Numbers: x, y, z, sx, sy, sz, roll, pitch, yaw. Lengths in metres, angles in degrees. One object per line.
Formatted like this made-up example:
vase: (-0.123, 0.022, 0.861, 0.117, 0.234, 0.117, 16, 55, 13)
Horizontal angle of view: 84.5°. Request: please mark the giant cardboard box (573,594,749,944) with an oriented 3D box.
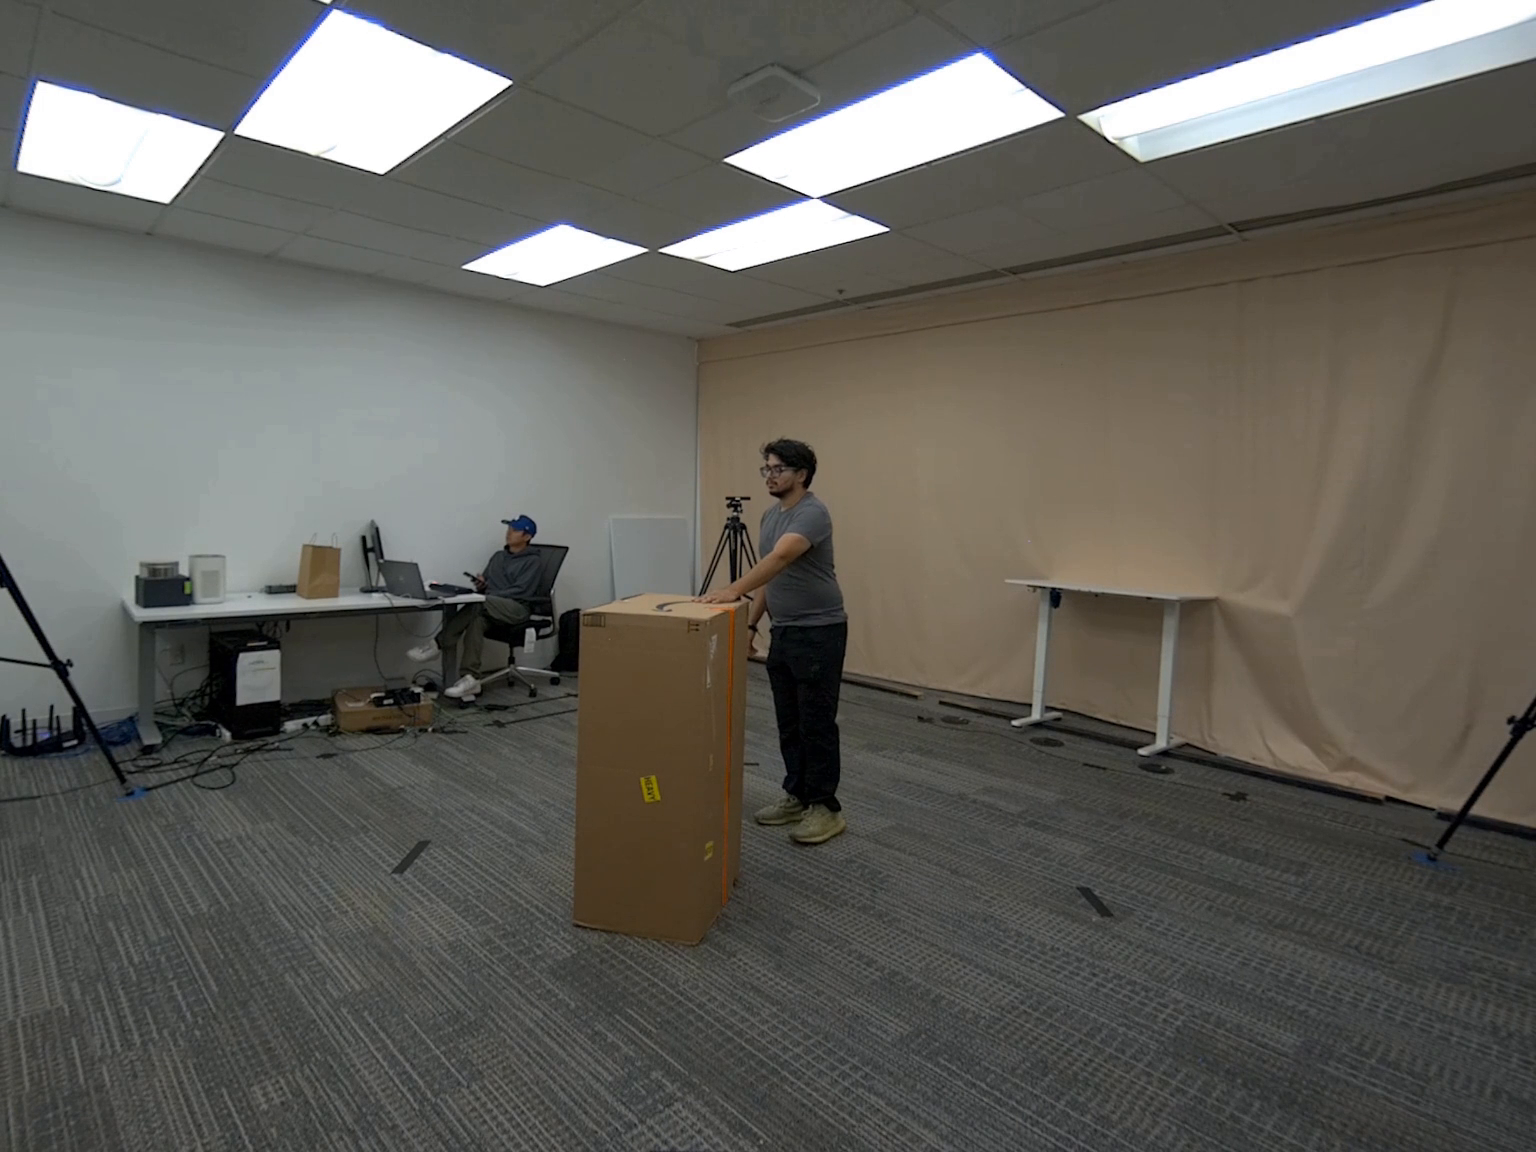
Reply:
giant cardboard box: (-0.350, 0.609, 2.911, 0.431, 1.024, 0.572, 3, 3, 13)
